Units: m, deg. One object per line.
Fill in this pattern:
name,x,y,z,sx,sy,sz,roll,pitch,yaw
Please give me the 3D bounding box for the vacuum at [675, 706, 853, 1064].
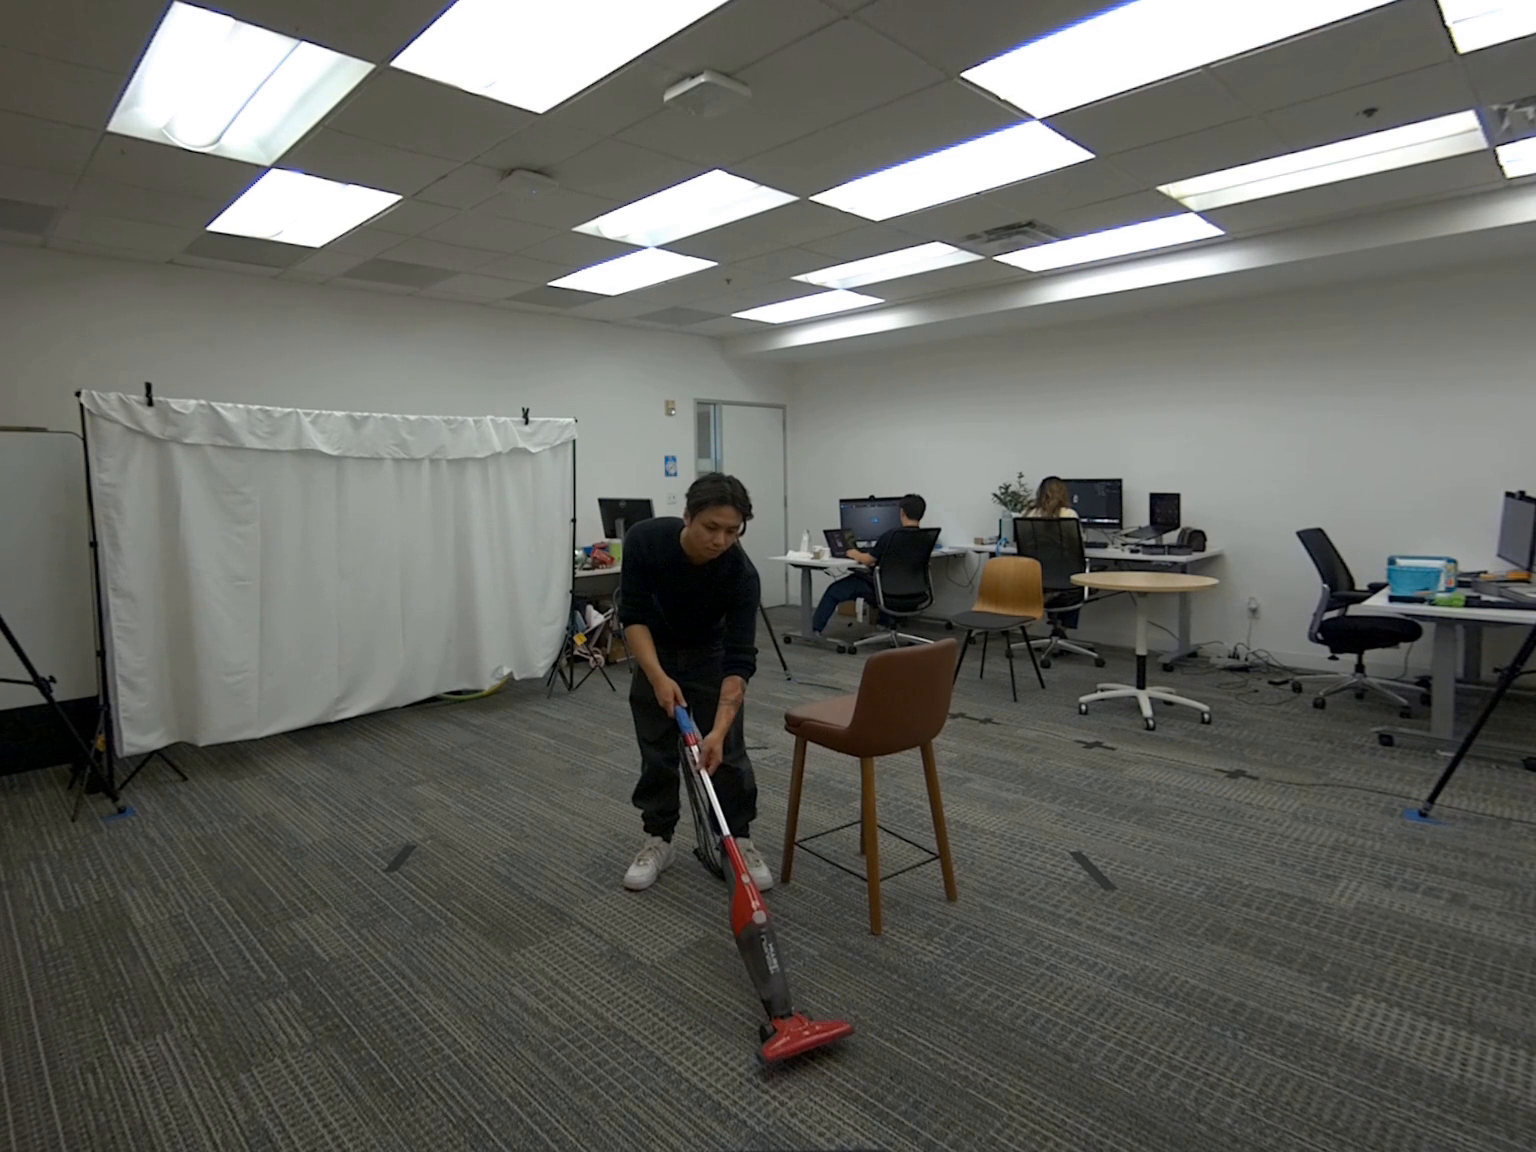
vacuum,-0.127,0.766,2.416,0.247,0.142,1.088,-4,46,-28
